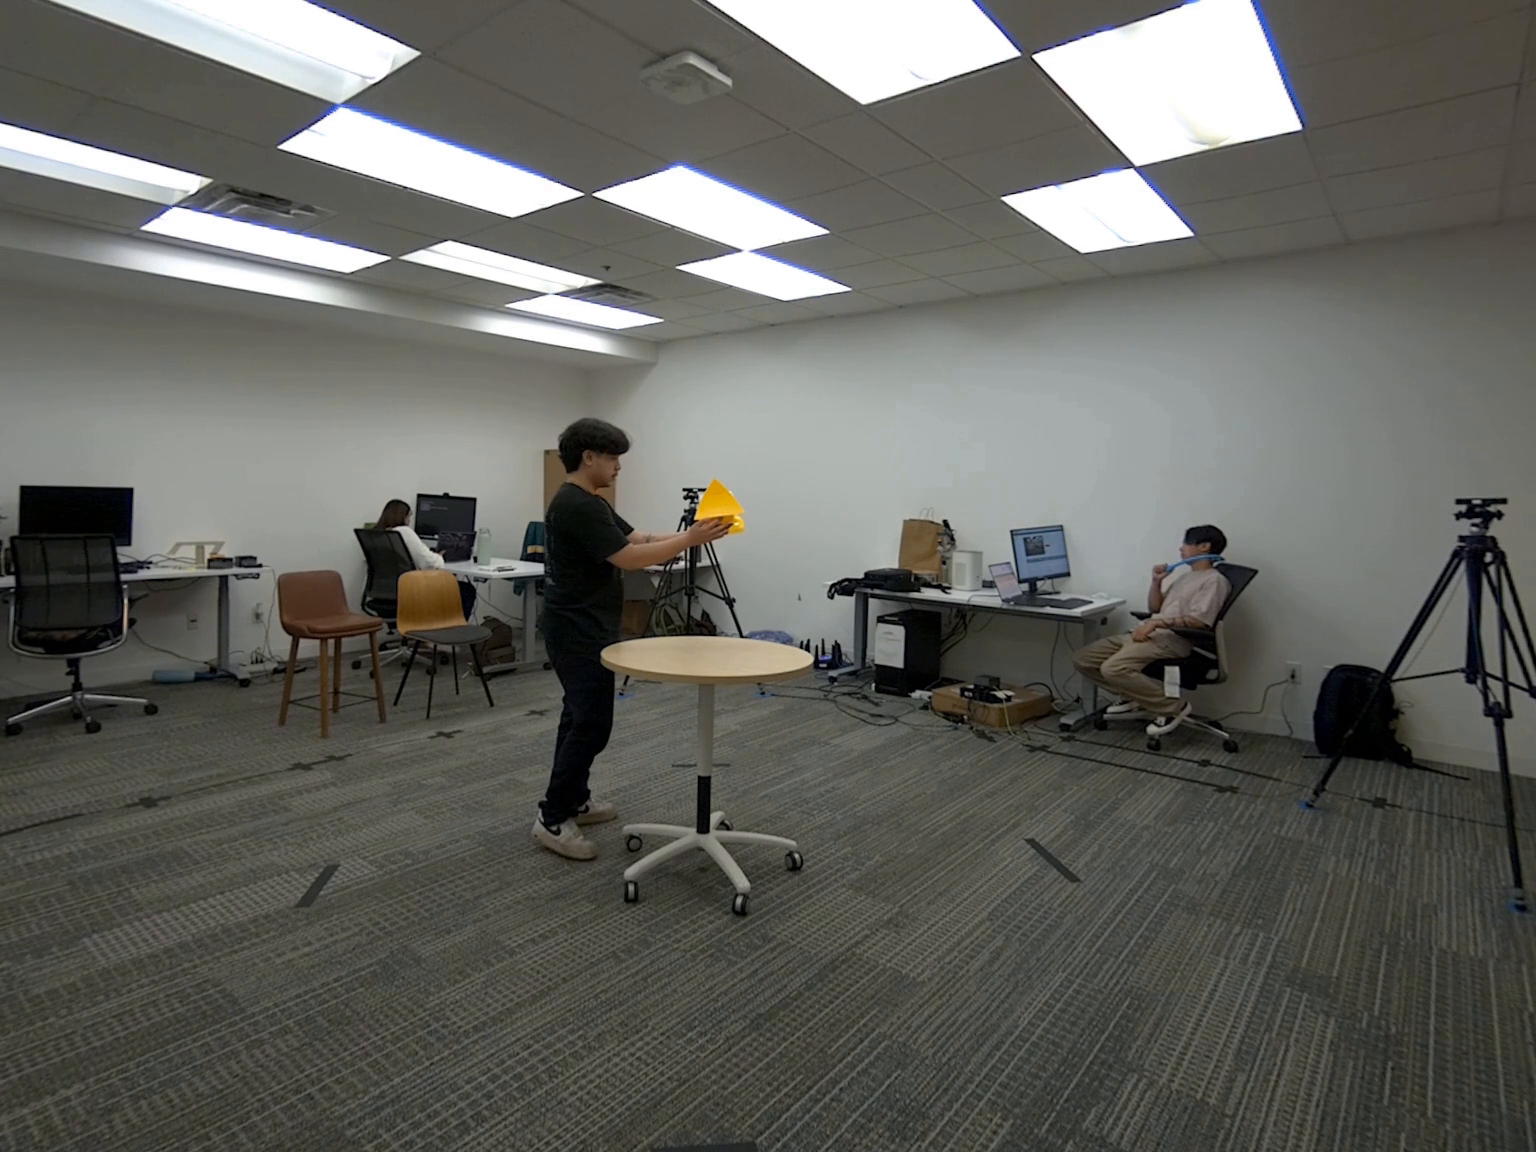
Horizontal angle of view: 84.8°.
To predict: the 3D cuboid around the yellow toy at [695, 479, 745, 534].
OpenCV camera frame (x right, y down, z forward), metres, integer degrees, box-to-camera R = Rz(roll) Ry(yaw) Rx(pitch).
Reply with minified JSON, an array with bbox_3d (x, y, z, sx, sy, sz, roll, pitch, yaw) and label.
[{"bbox_3d":[-0.222,-0.285,3.436,0.204,0.229,0.195,-8,7,-5],"label":"yellow toy"}]
